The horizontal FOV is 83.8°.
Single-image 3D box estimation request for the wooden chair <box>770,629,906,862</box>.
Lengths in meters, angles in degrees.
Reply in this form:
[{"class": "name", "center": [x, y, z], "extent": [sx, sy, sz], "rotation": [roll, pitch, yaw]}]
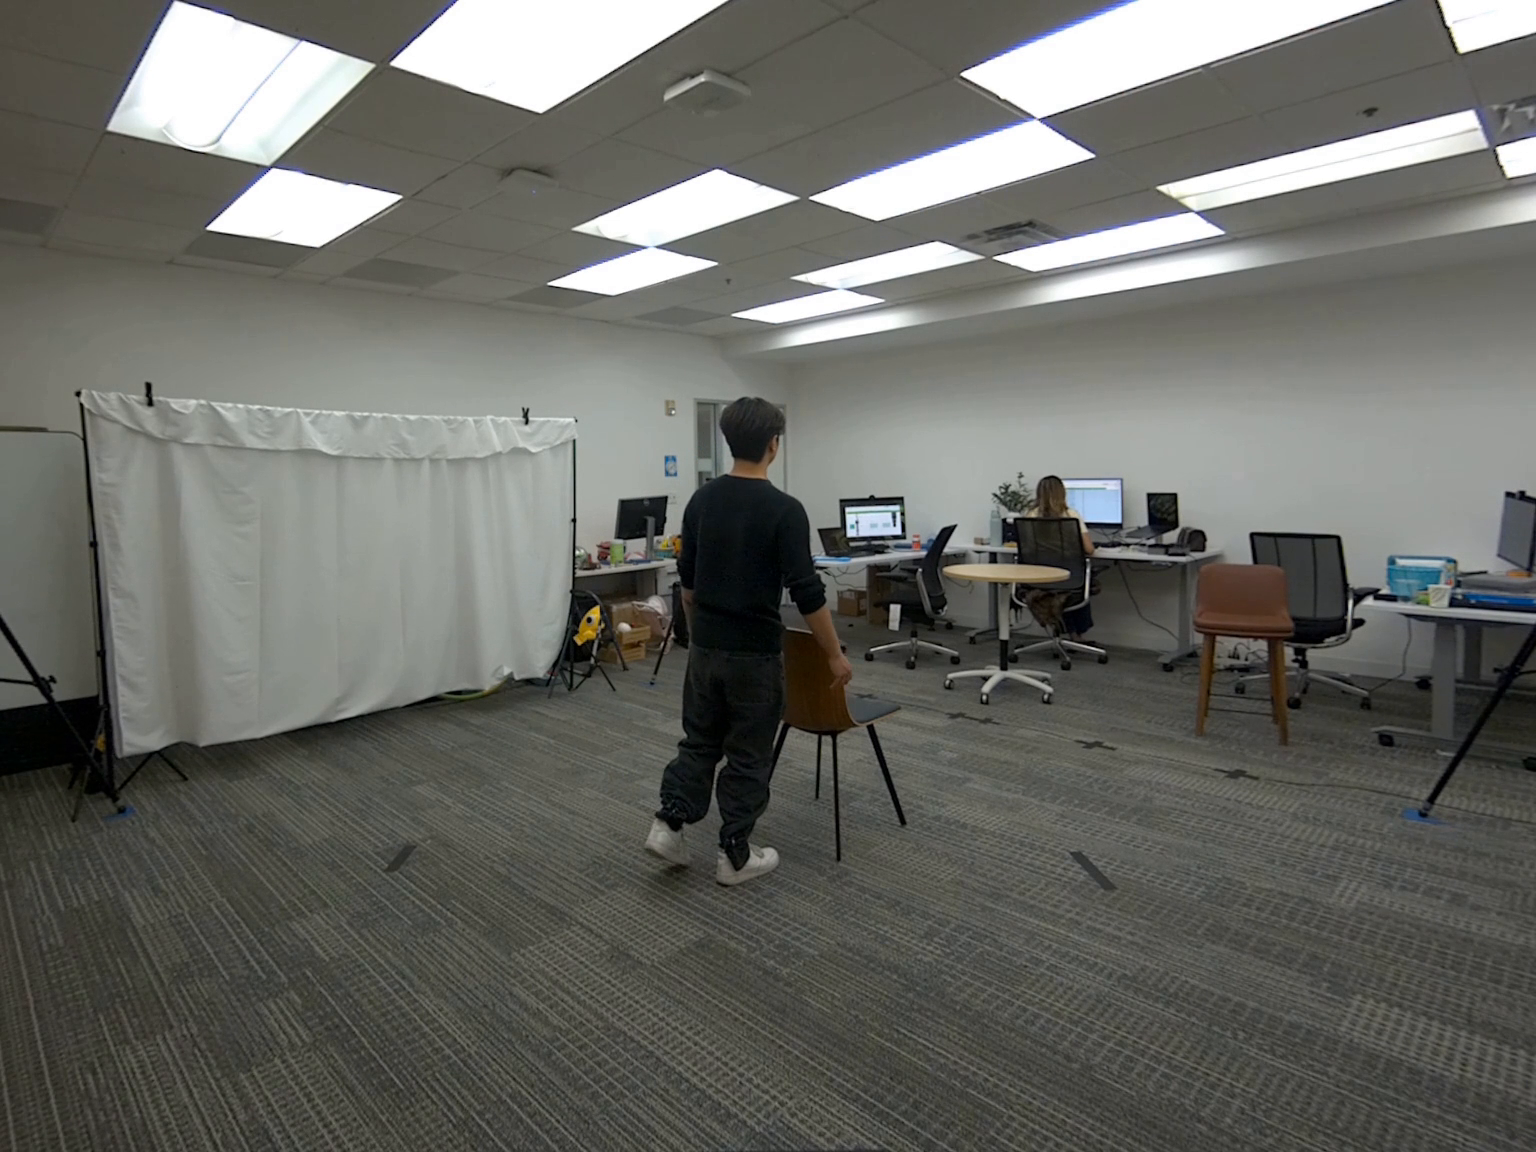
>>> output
[{"class": "wooden chair", "center": [0.236, 0.578, 3.392], "extent": [0.493, 0.871, 0.511], "rotation": [3, 10, 42]}]
